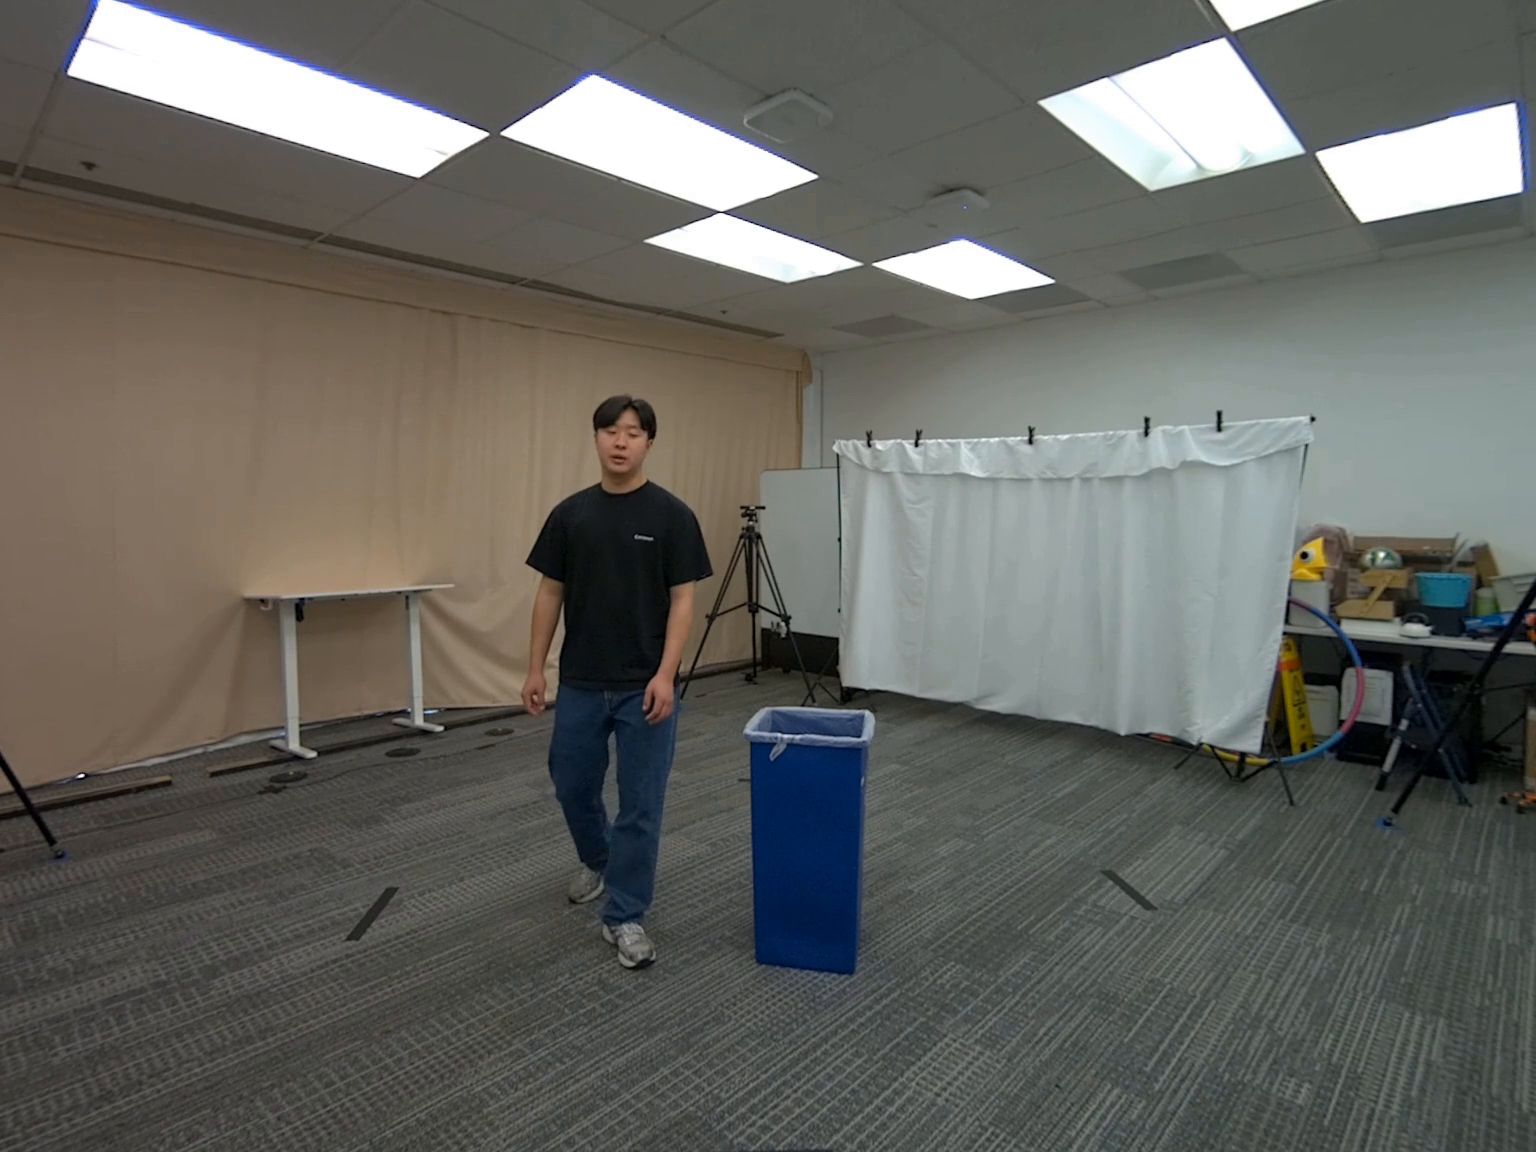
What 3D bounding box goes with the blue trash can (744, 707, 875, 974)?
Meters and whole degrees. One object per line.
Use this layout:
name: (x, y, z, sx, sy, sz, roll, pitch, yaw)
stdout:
blue trash can: (0.141, 0.813, 2.646, 0.383, 0.713, 0.369, 1, 2, 11)
